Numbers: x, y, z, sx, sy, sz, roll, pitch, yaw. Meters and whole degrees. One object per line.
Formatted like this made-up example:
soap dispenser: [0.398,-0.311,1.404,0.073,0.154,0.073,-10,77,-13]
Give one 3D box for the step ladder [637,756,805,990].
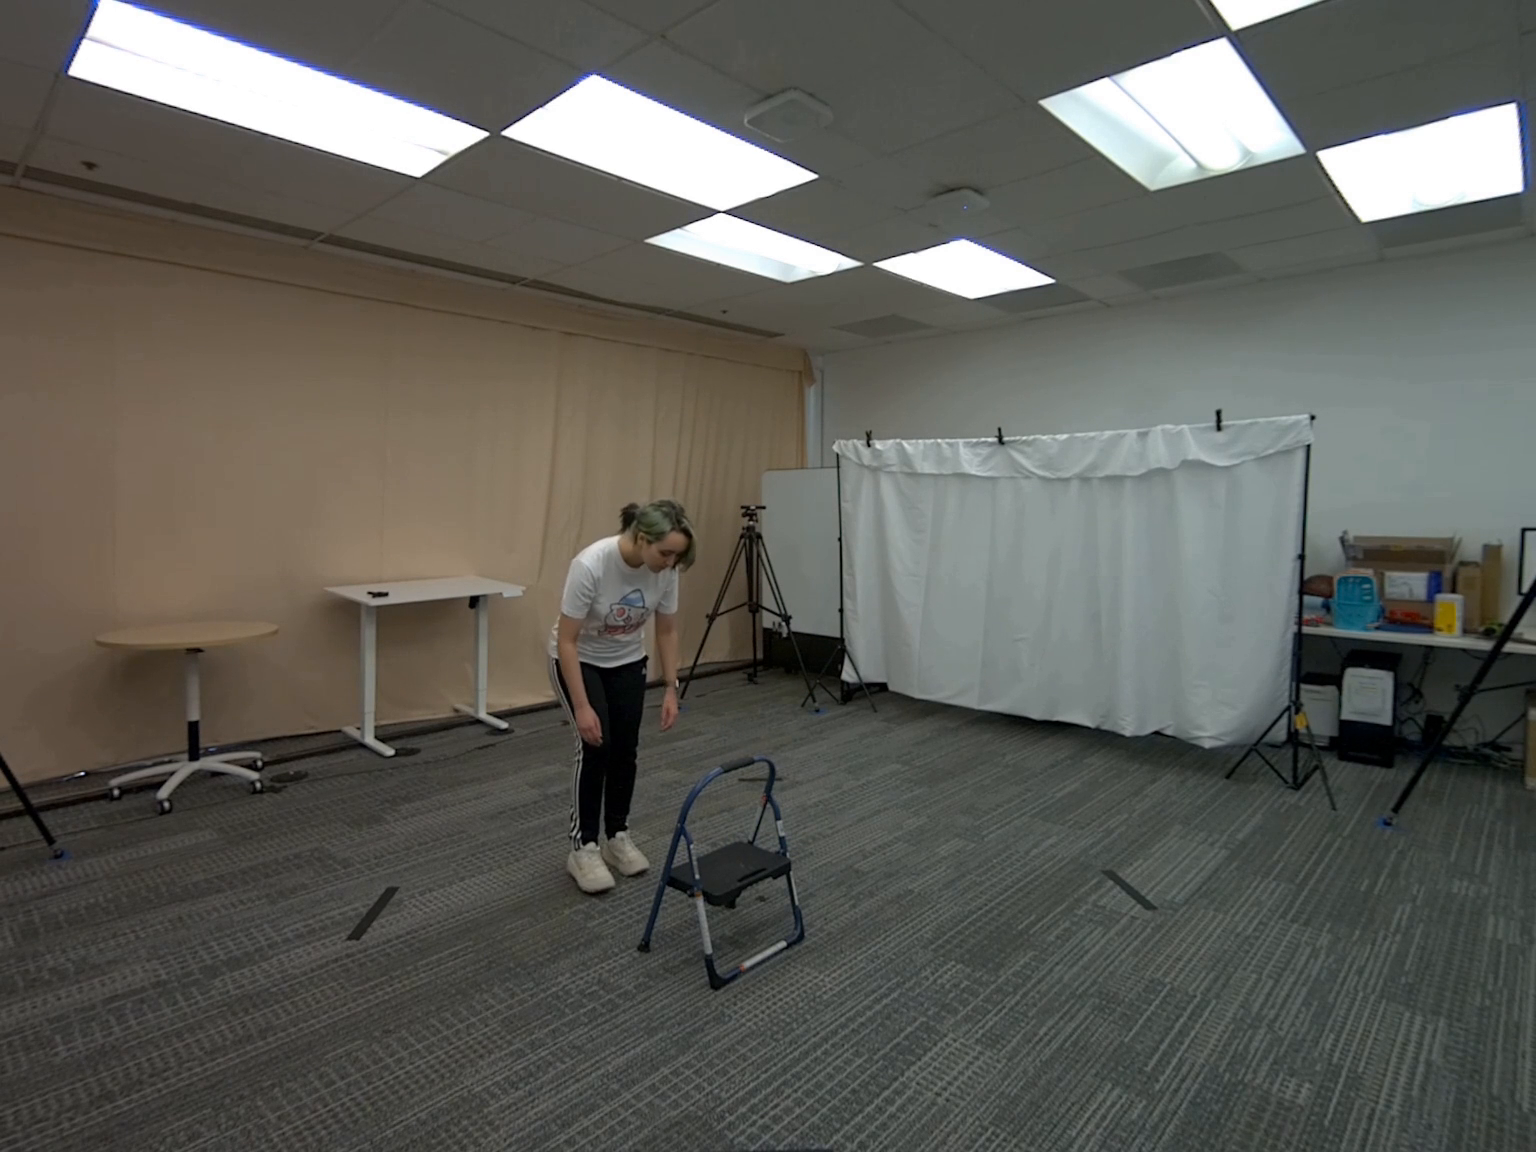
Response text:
step ladder: [-0.142,0.868,2.665,0.361,0.605,0.417,2,4,42]
